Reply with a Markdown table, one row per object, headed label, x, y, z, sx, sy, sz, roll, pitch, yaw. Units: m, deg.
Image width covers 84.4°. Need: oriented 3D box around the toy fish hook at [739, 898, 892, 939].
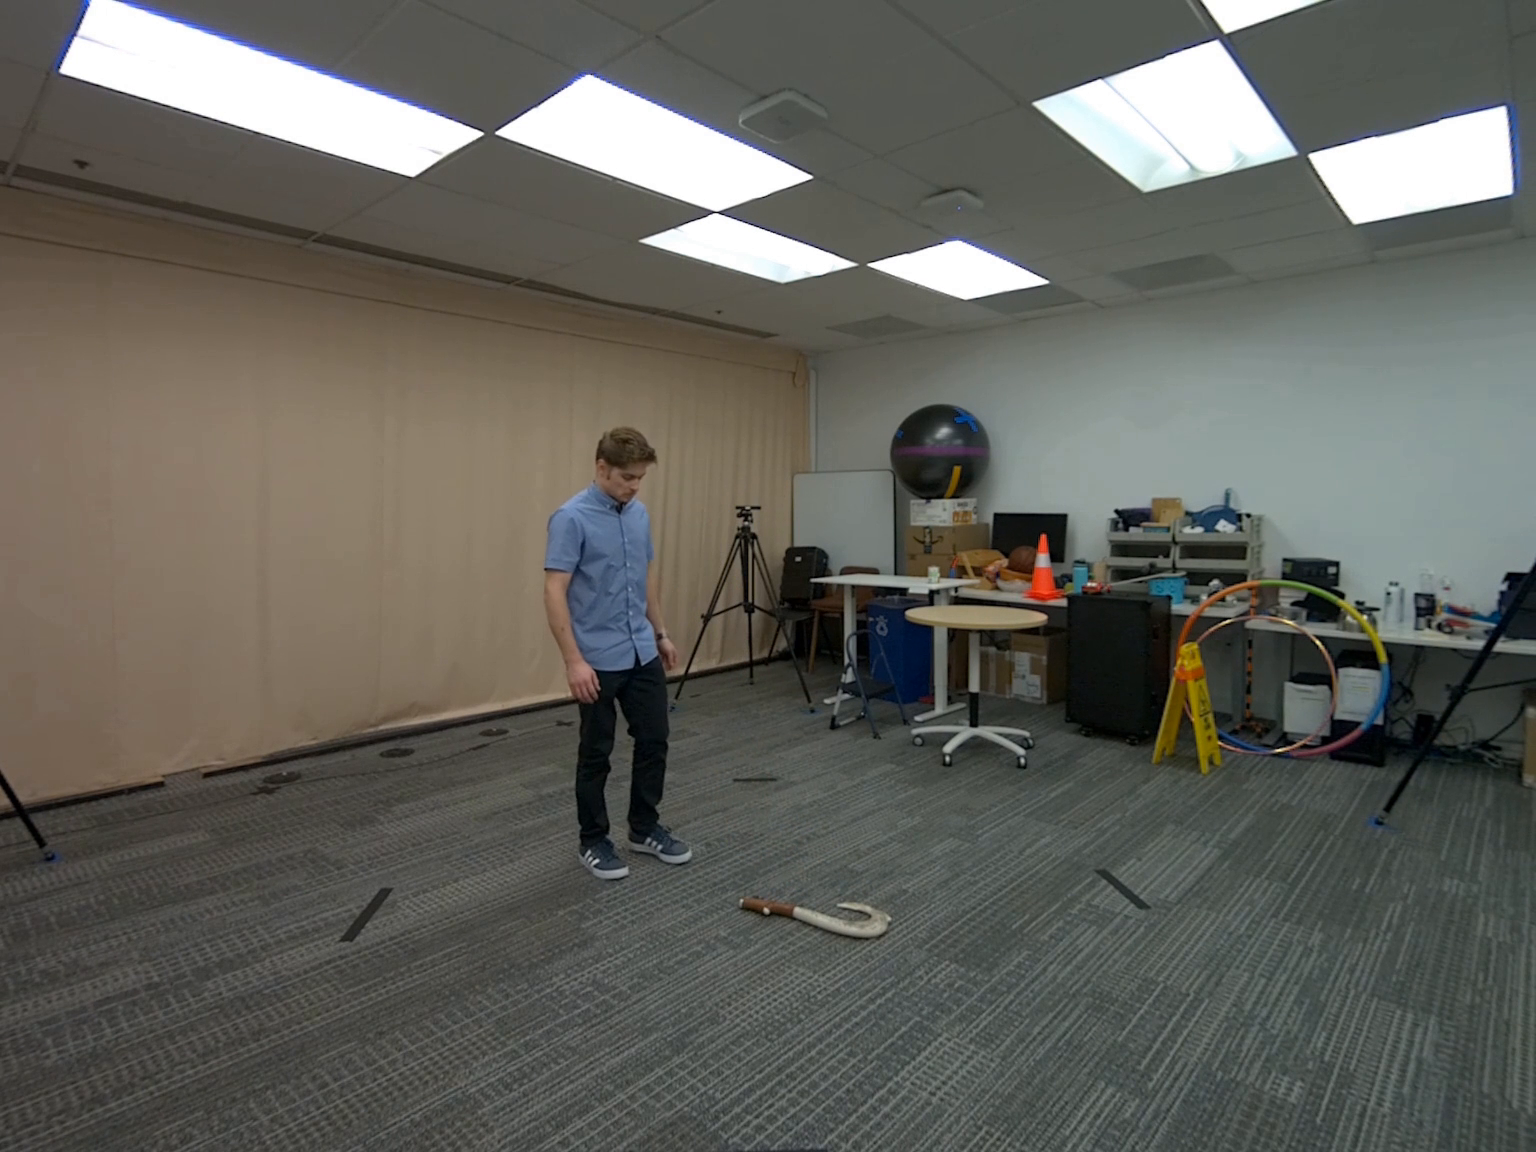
| label | x | y | z | sx | sy | sz | roll | pitch | yaw |
| --- | --- | --- | --- | --- | --- | --- | --- | --- | --- |
| toy fish hook | 0.159 | 1.140 | 2.862 | 0.518 | 0.048 | 0.219 | 3 | -3 | 22 |
